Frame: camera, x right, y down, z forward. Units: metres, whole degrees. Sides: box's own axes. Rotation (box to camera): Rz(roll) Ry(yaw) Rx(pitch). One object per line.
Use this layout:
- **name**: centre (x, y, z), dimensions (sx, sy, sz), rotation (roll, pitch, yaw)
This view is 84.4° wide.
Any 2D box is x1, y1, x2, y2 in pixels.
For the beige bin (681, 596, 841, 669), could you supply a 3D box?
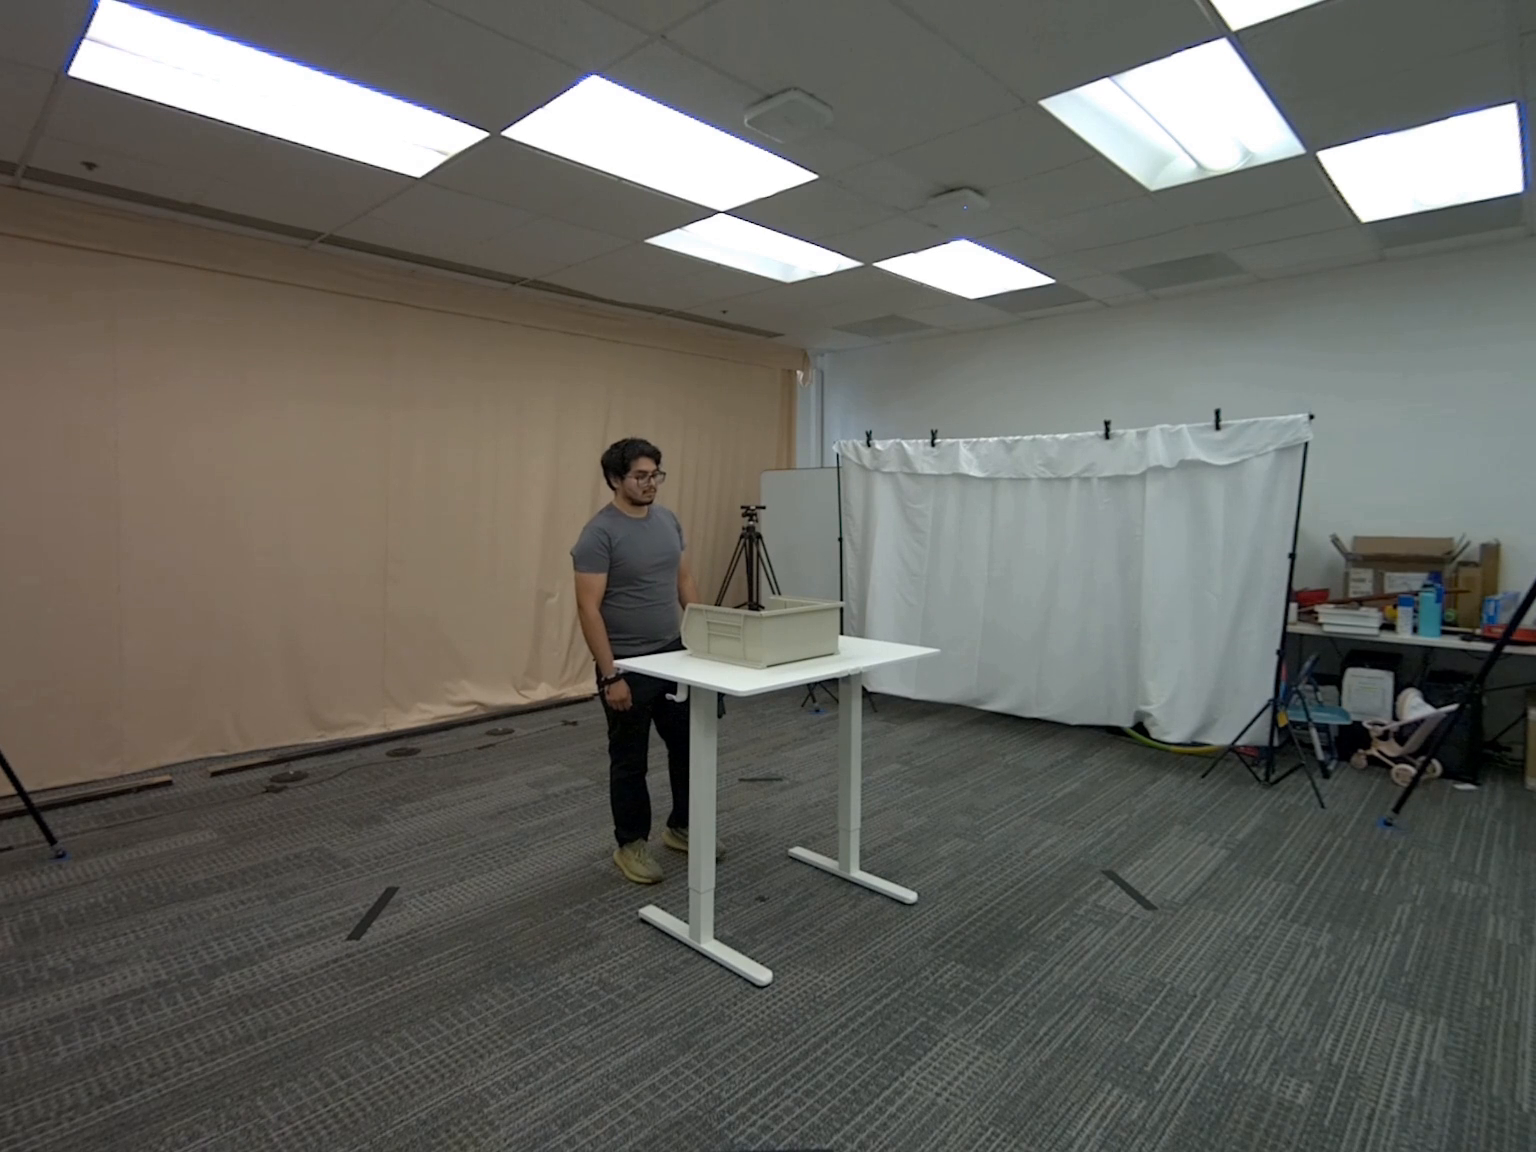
- **beige bin**: centre (-0.017, 0.181, 2.868), dimensions (0.390, 0.188, 0.409), rotation (6, 7, 44)
